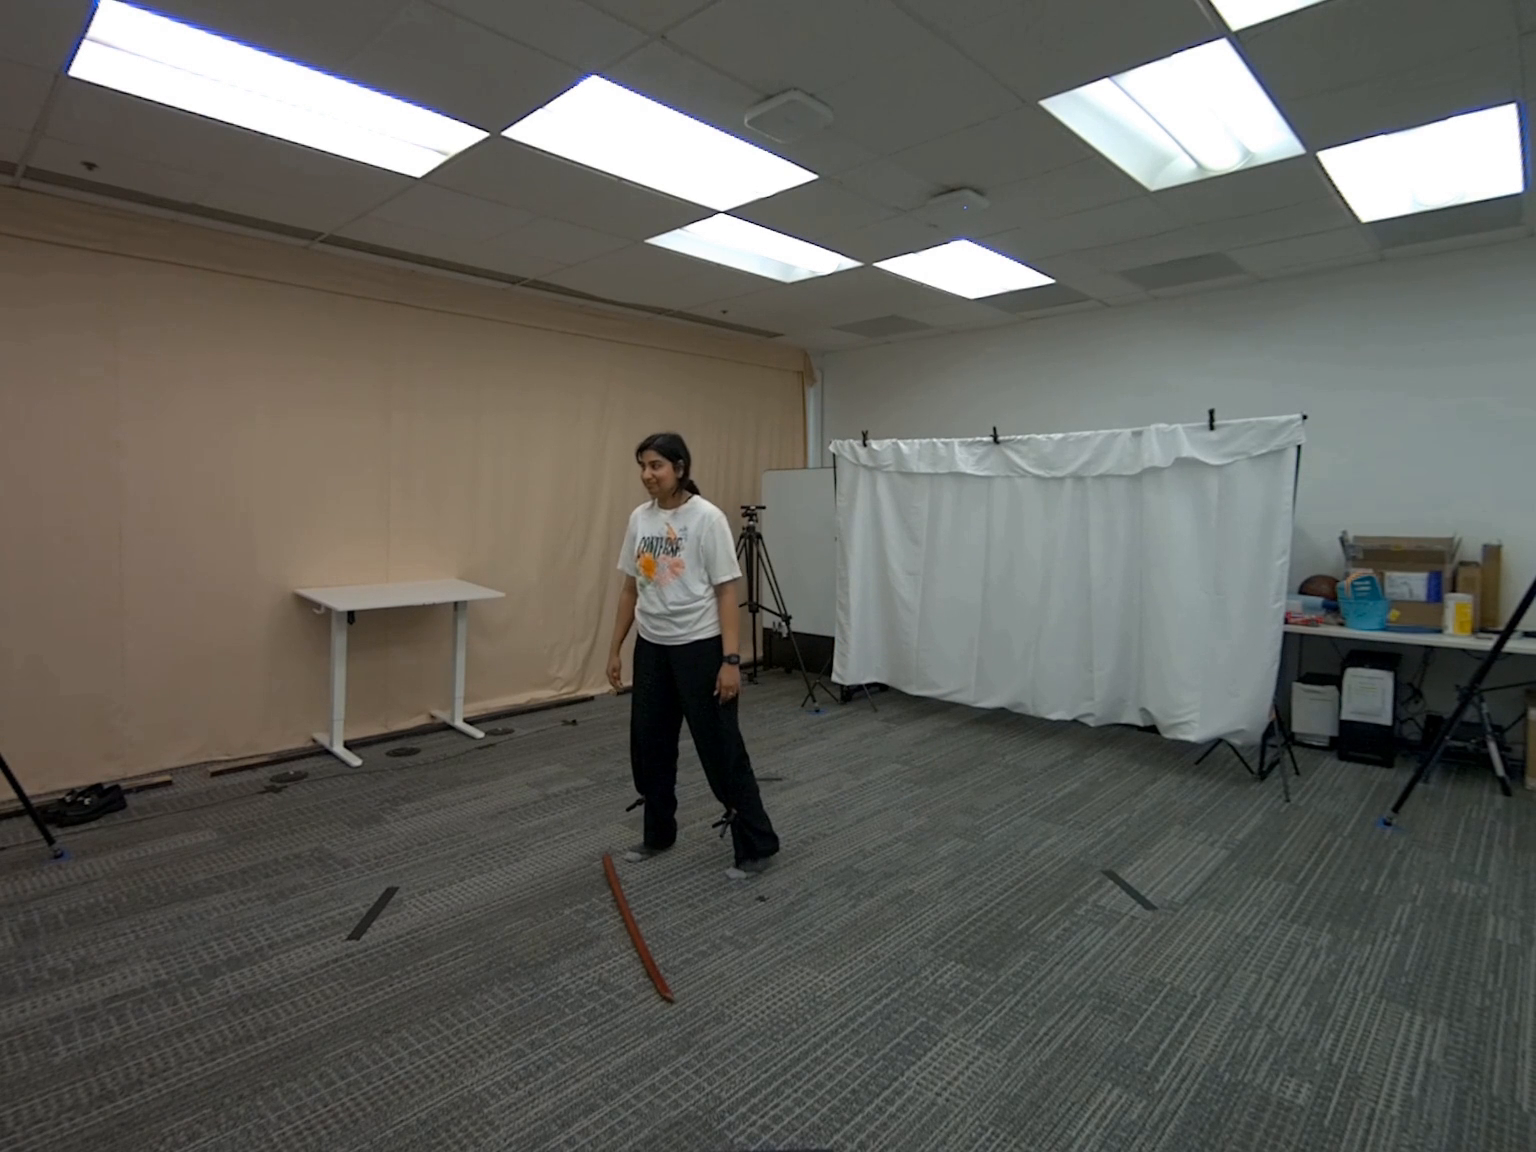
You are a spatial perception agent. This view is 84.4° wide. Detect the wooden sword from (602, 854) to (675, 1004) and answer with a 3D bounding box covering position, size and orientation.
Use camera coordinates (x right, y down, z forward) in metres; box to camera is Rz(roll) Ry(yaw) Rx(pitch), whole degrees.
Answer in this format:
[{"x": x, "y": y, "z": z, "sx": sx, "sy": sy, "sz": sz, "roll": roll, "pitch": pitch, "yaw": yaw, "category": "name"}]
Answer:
[{"x": -0.450, "y": 1.132, "z": 2.839, "sx": 0.050, "sy": 0.024, "sz": 1.047, "roll": -6, "pitch": 6, "yaw": -20, "category": "wooden sword"}]
